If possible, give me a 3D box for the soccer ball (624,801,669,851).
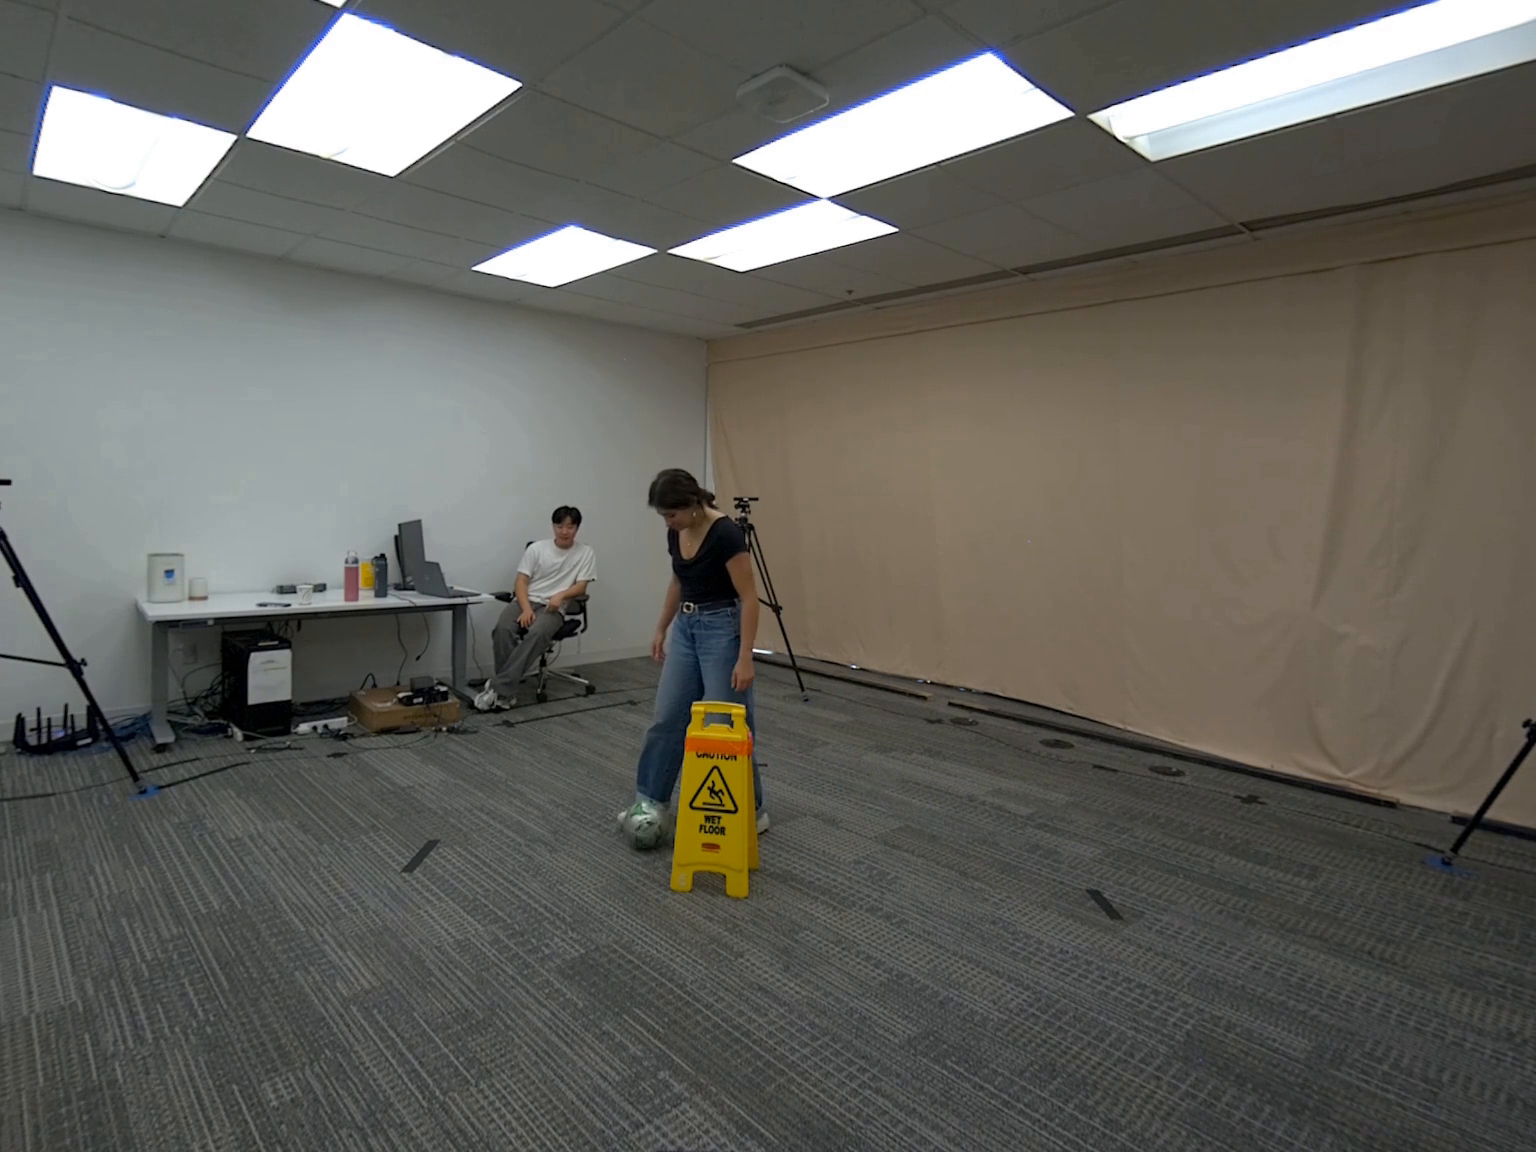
[{"bbox_3d":[-0.495,0.988,3.335,0.187,0.187,0.188,1,4,-1],"label":"soccer ball"}]
